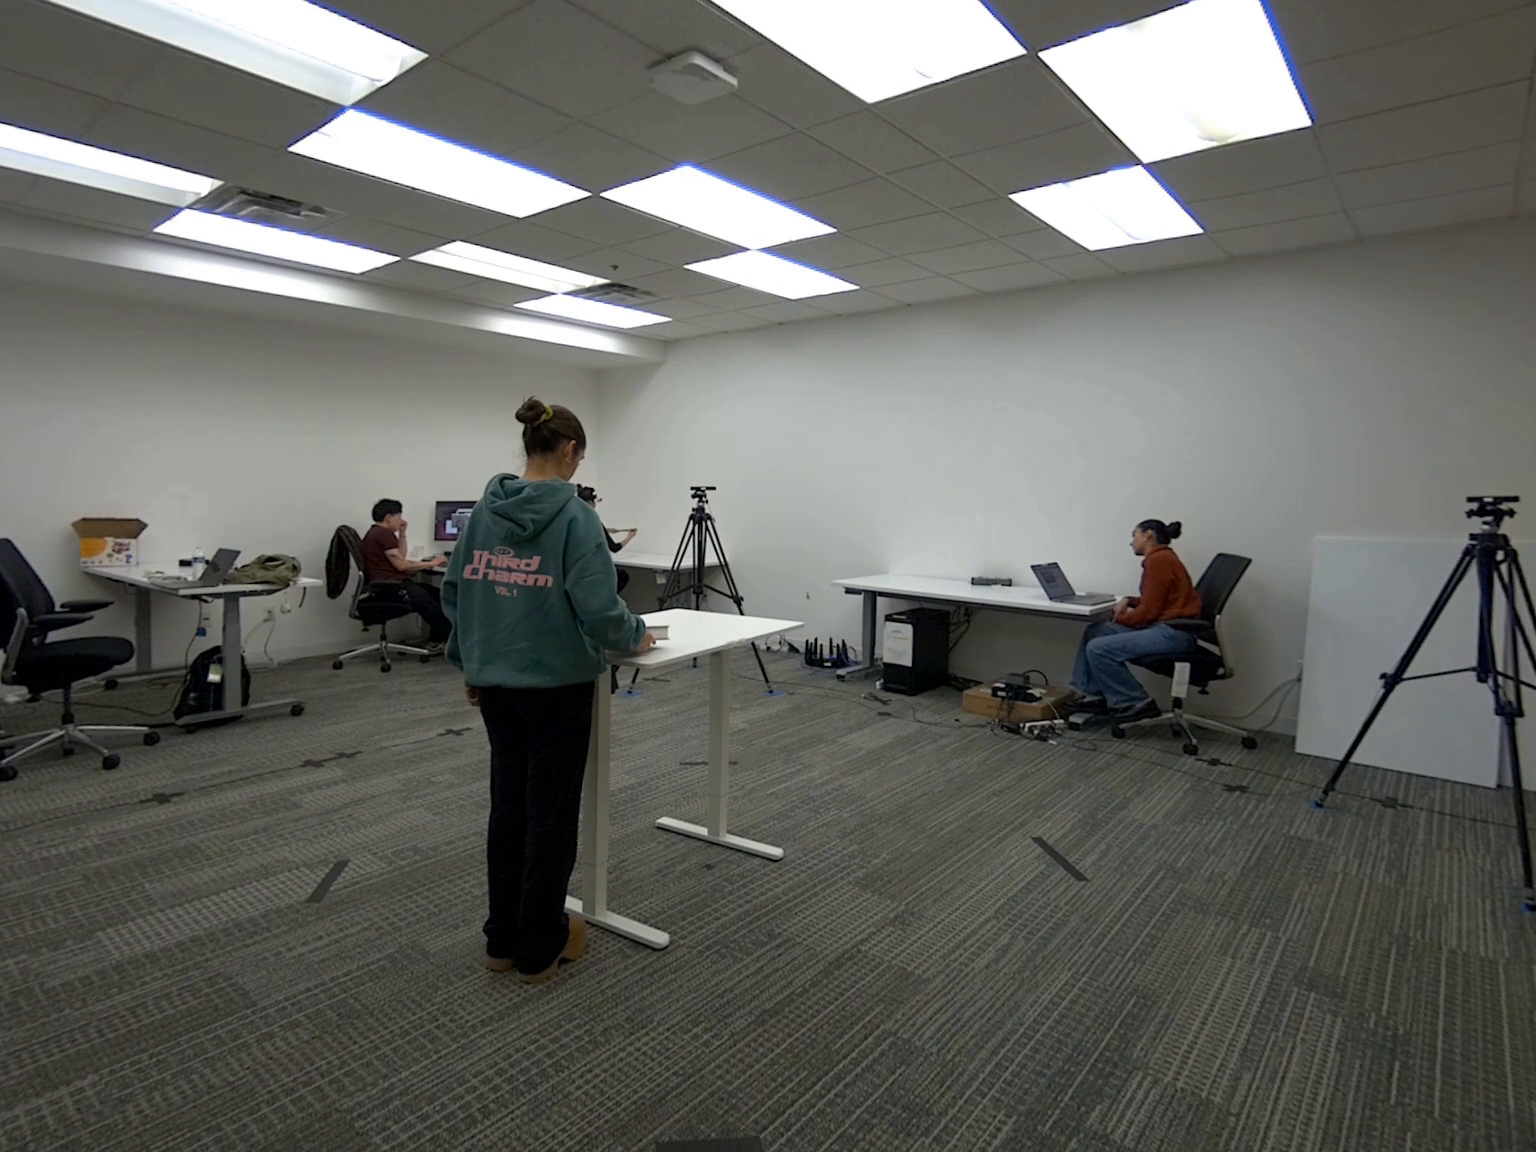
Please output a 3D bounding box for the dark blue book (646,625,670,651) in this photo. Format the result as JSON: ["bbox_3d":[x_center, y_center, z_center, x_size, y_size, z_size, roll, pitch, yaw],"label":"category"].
[{"bbox_3d":[-0.448,0.180,2.619,0.168,0.045,0.237,-3,-3,36],"label":"dark blue book"}]
